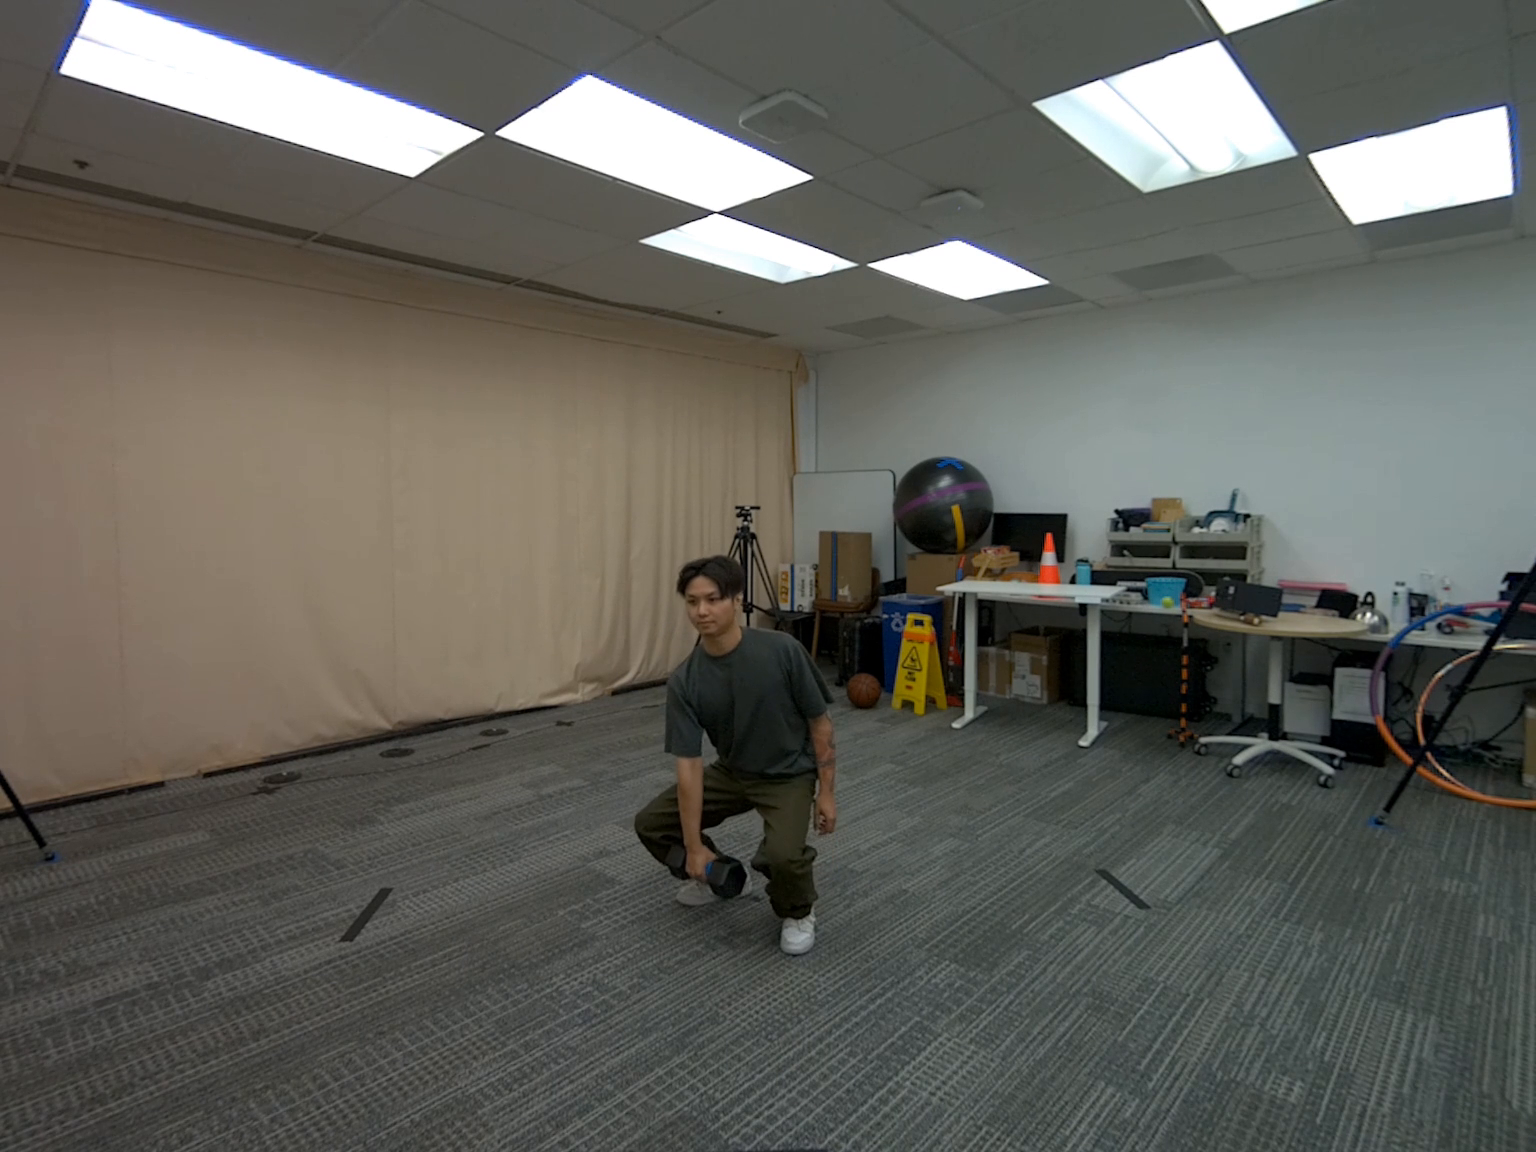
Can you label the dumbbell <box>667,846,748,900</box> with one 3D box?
[{"bbox_3d":[-0.199,0.941,2.727,0.303,0.121,0.107,-1,30,47],"label":"dumbbell"}]
